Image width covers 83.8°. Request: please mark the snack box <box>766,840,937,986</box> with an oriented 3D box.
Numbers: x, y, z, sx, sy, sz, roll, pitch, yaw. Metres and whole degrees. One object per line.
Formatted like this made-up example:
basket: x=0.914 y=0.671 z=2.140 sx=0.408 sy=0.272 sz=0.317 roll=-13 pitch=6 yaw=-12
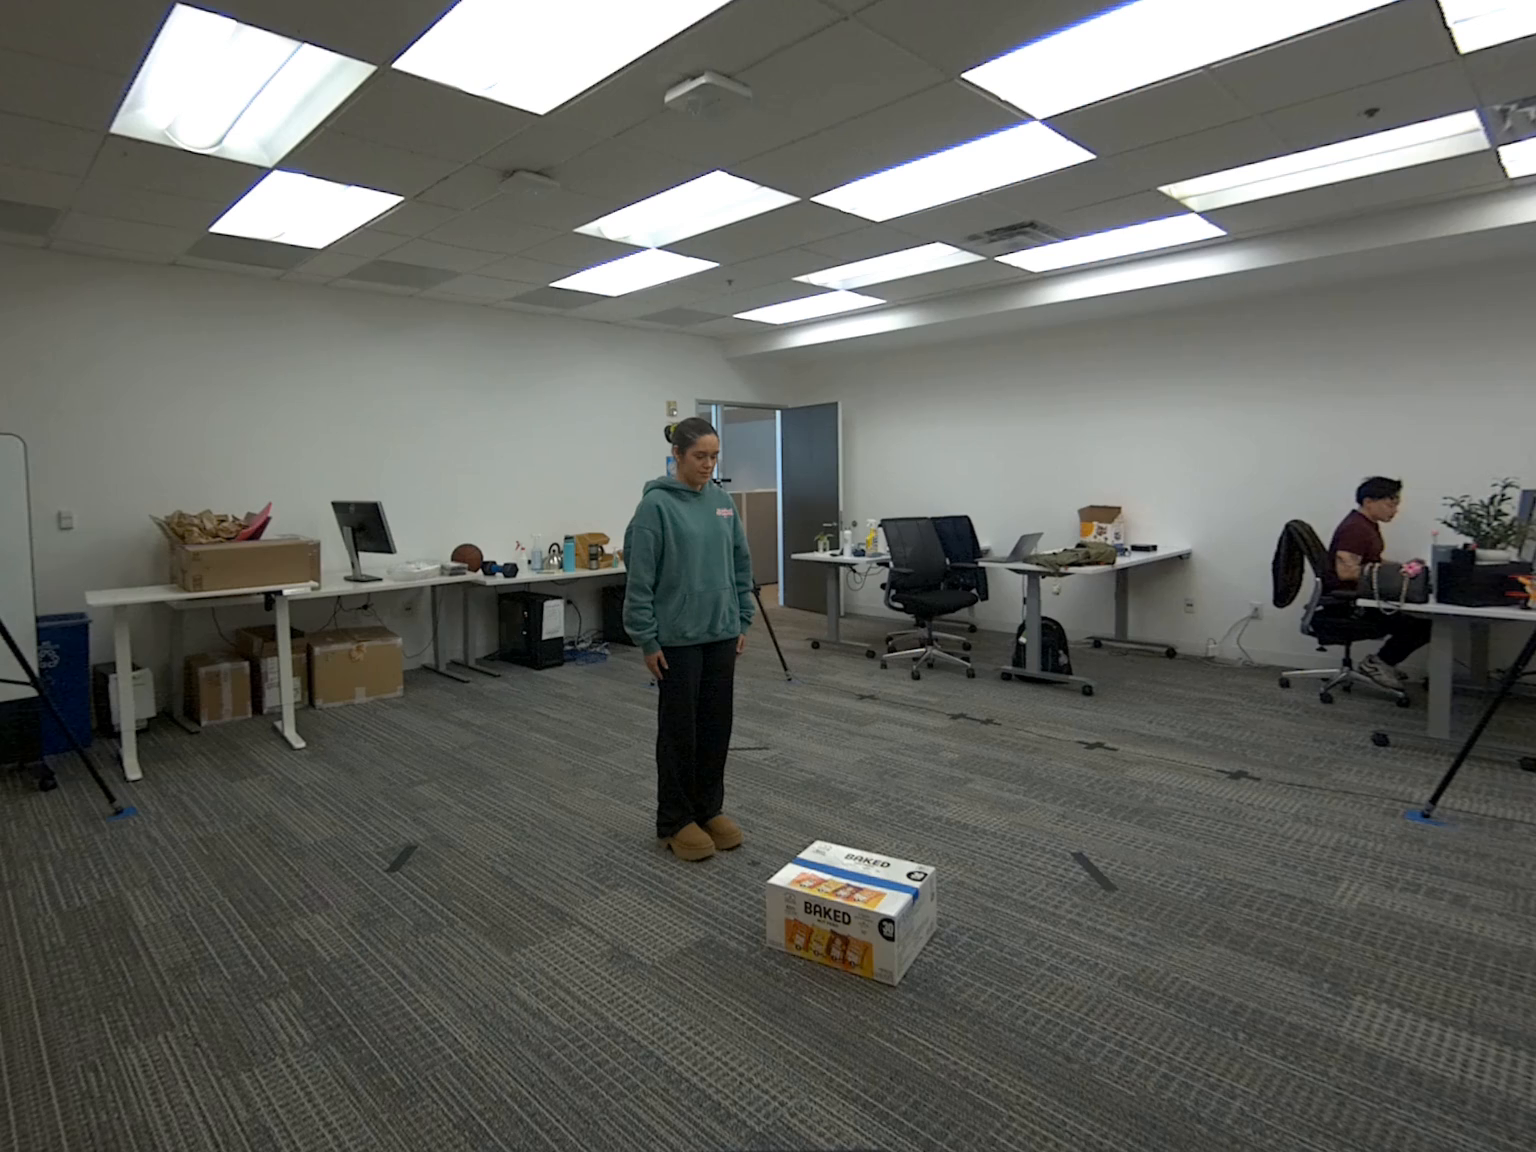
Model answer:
snack box: x=0.260 y=1.001 z=2.571 sx=0.416 sy=0.205 sz=0.333 roll=2 pitch=7 yaw=31
